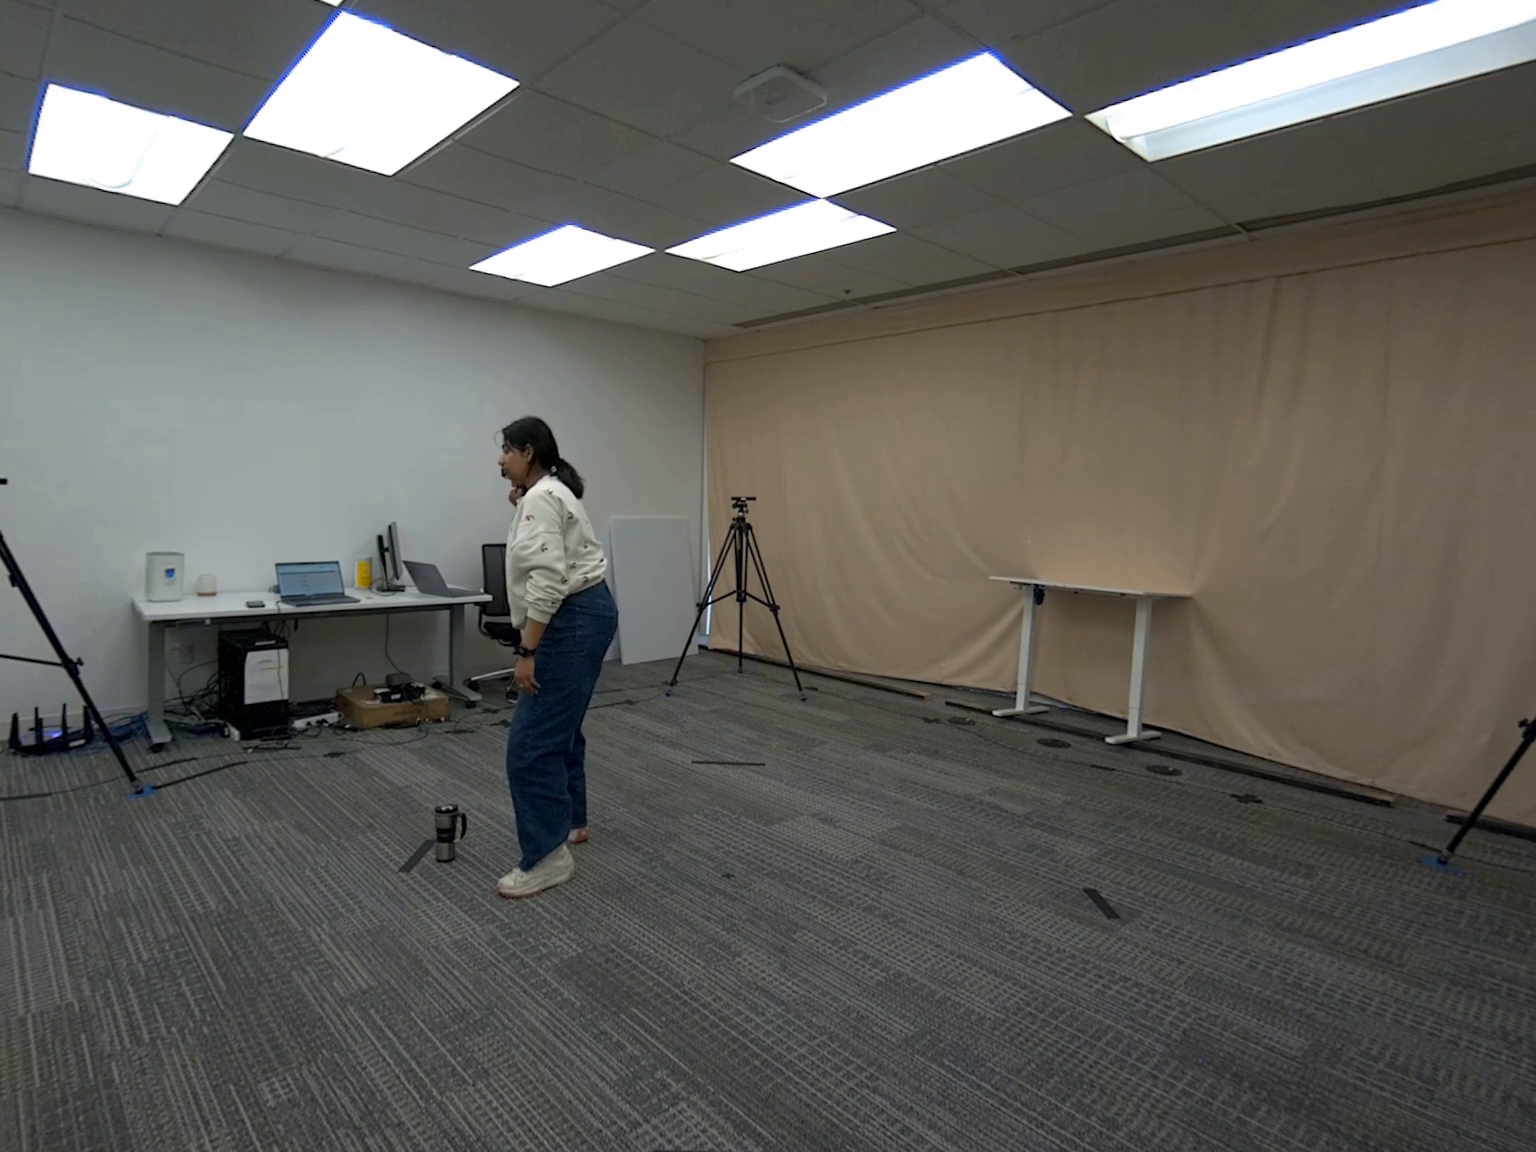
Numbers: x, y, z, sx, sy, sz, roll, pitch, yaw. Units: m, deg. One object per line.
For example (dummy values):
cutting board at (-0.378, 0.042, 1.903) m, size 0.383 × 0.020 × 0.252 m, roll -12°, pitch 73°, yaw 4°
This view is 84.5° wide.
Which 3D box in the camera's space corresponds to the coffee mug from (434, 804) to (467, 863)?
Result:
coffee mug at (-1.220, 0.982, 3.174) m, size 0.086 × 0.203 × 0.125 m, roll 3°, pitch -3°, yaw -45°
